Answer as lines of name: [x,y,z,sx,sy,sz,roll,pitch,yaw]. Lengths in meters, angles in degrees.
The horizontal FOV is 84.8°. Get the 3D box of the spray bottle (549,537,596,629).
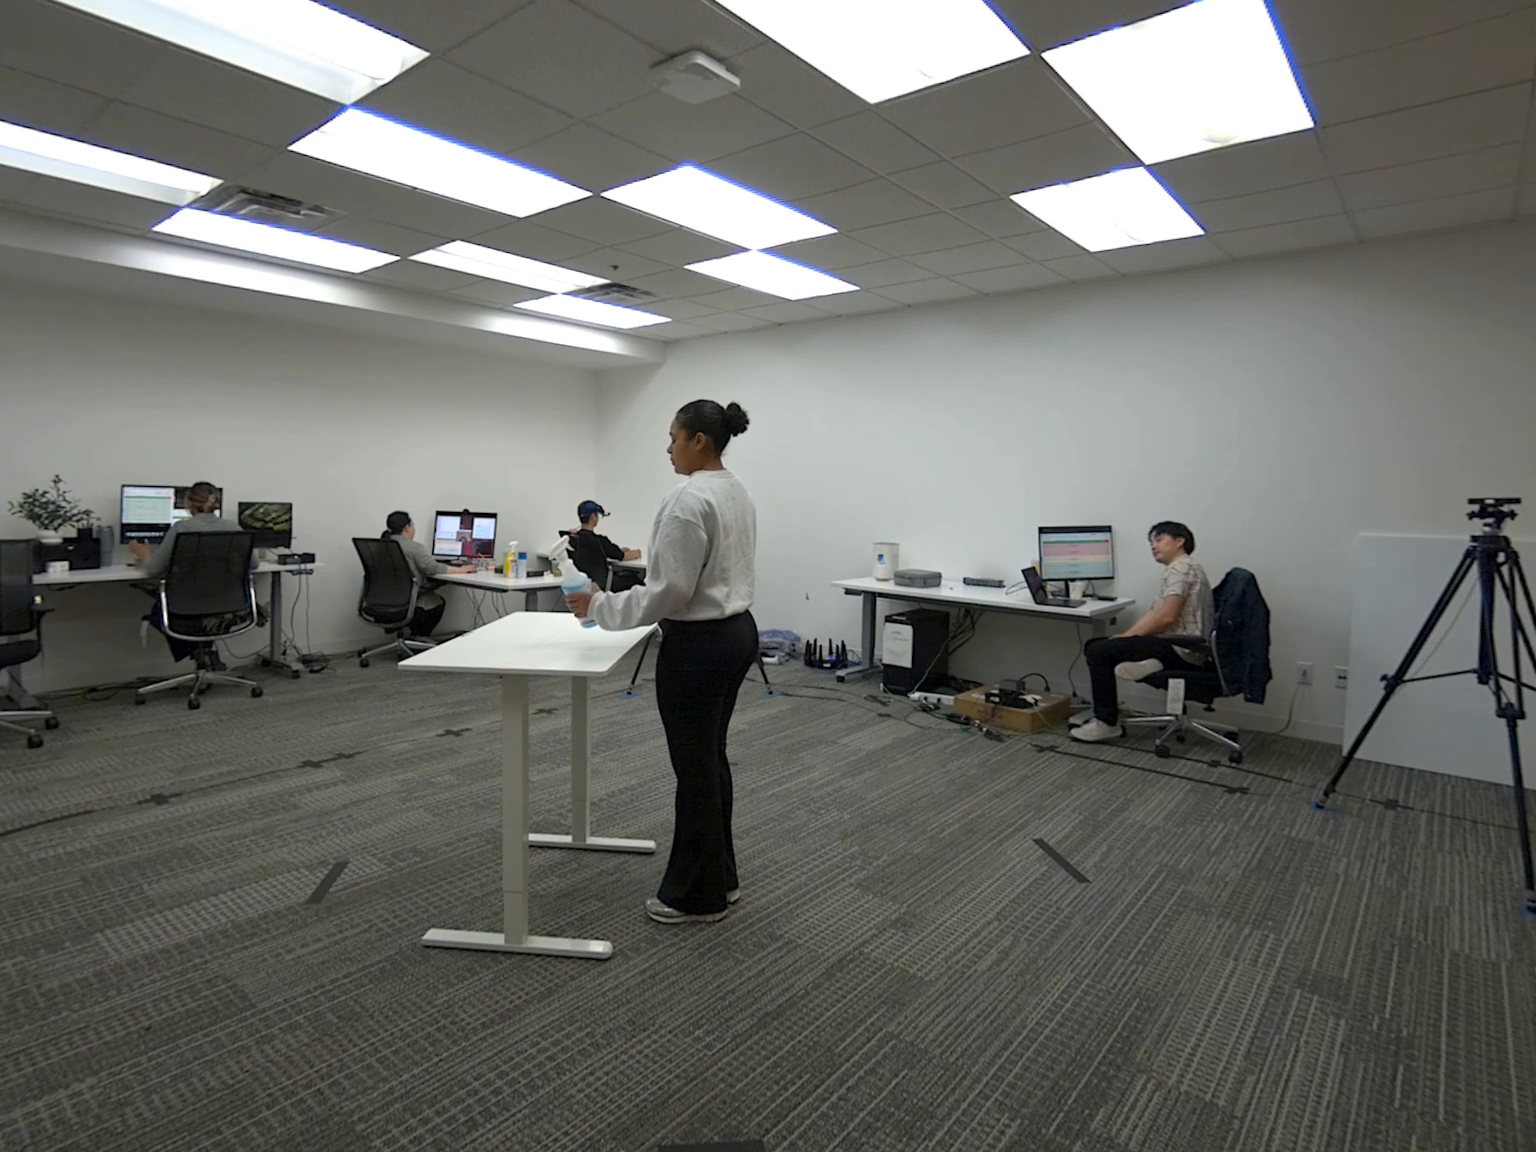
spray bottle: [-0.615,0.014,2.668,0.089,0.289,0.090,-26,24,-13]
